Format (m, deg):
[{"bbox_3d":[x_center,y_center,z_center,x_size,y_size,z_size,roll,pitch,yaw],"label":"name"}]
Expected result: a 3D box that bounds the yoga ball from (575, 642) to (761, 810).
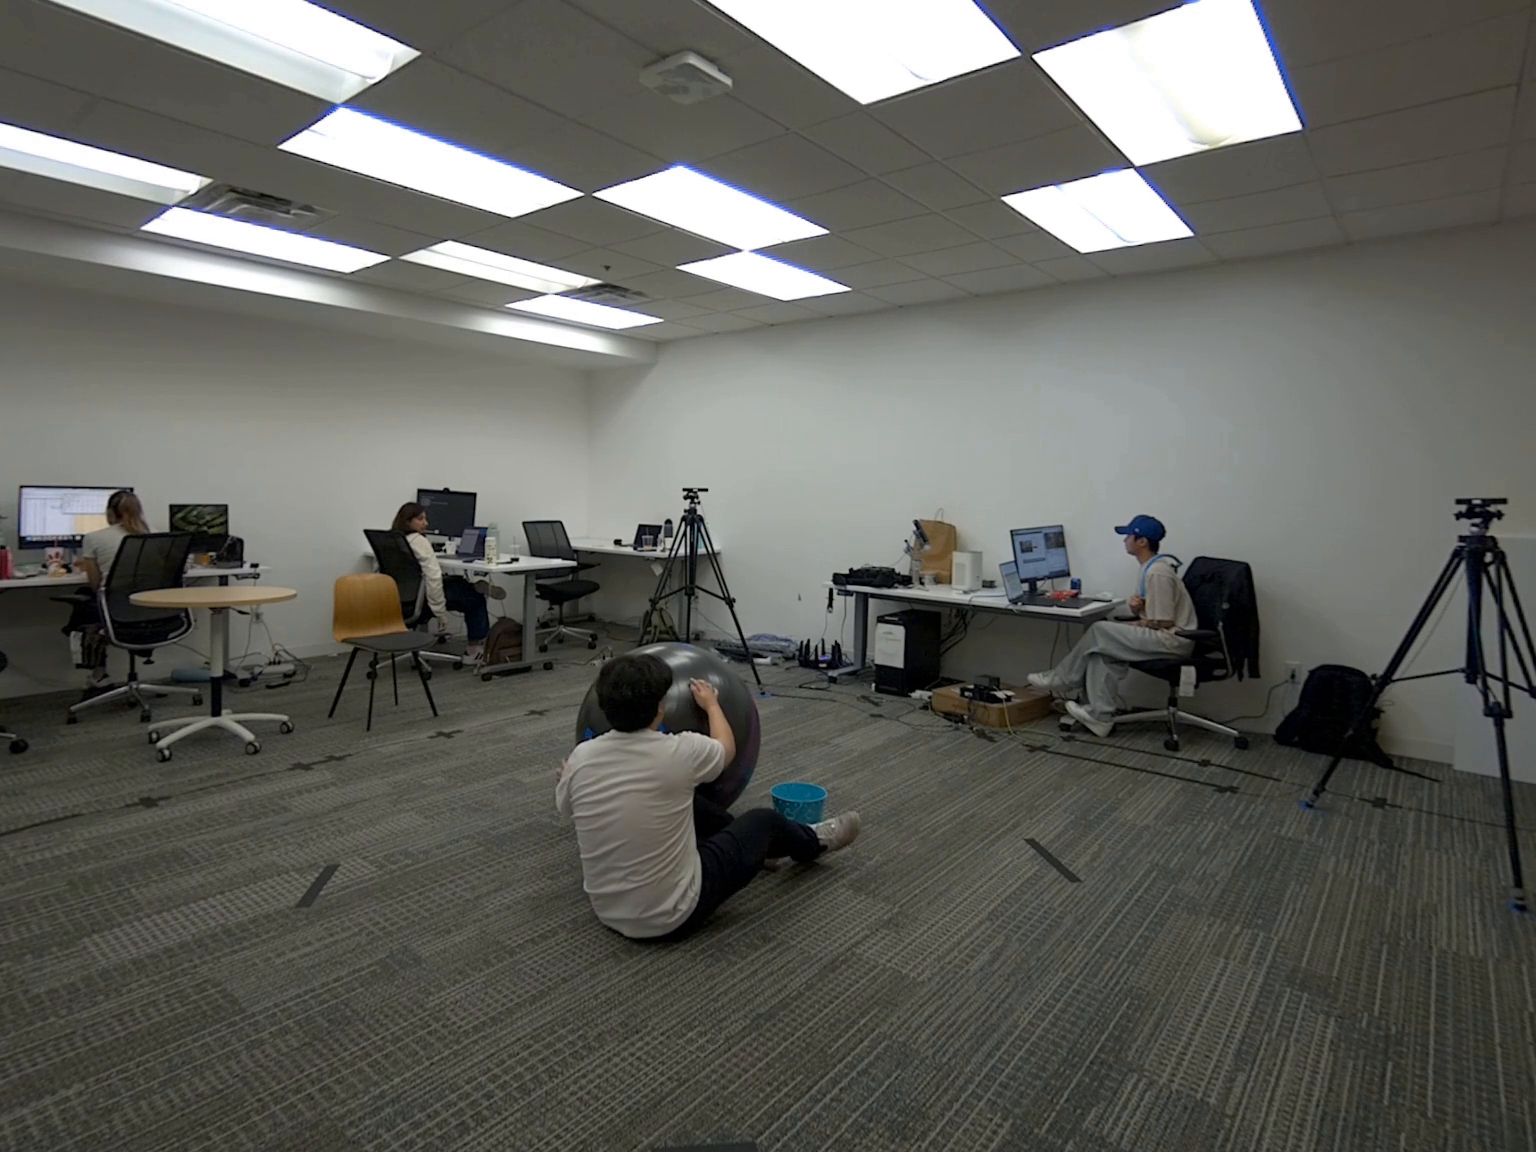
[{"bbox_3d":[-0.419,0.660,3.516,0.757,0.755,0.762,1,4,-2],"label":"yoga ball"}]
